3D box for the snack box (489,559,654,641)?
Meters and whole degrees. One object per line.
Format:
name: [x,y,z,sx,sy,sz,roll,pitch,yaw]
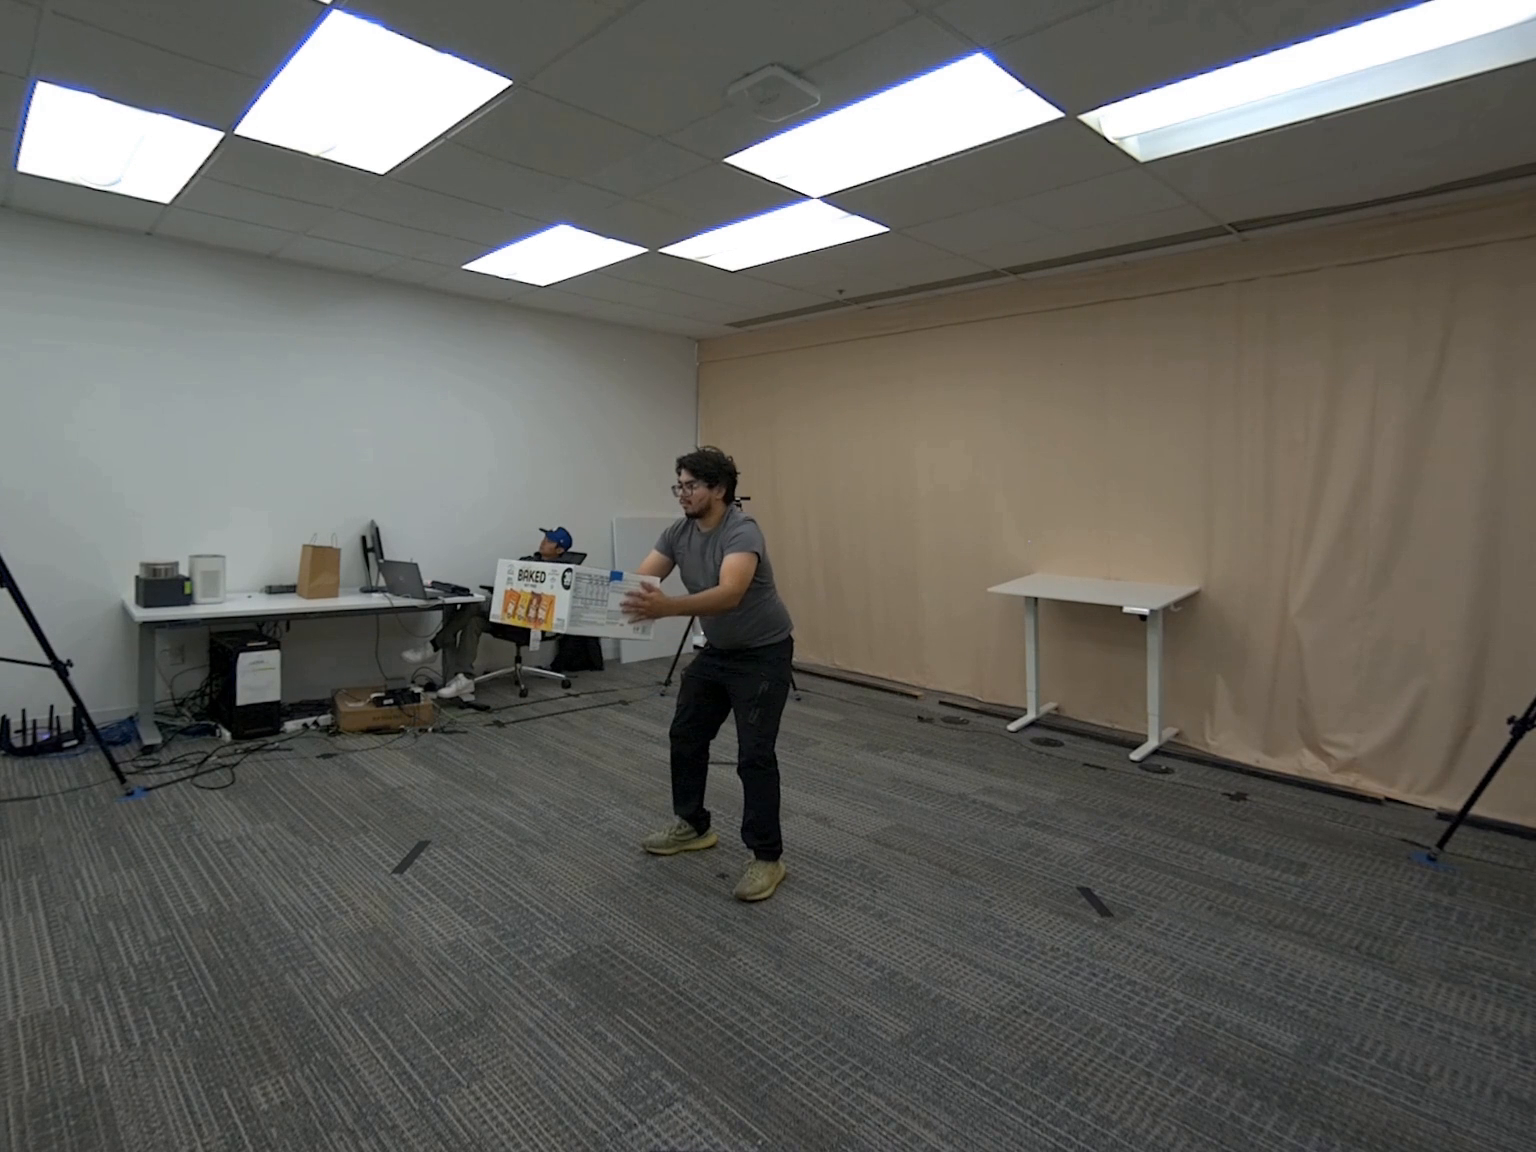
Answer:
snack box: [-0.619,0.083,2.671,0.415,0.206,0.331,4,-3,42]
